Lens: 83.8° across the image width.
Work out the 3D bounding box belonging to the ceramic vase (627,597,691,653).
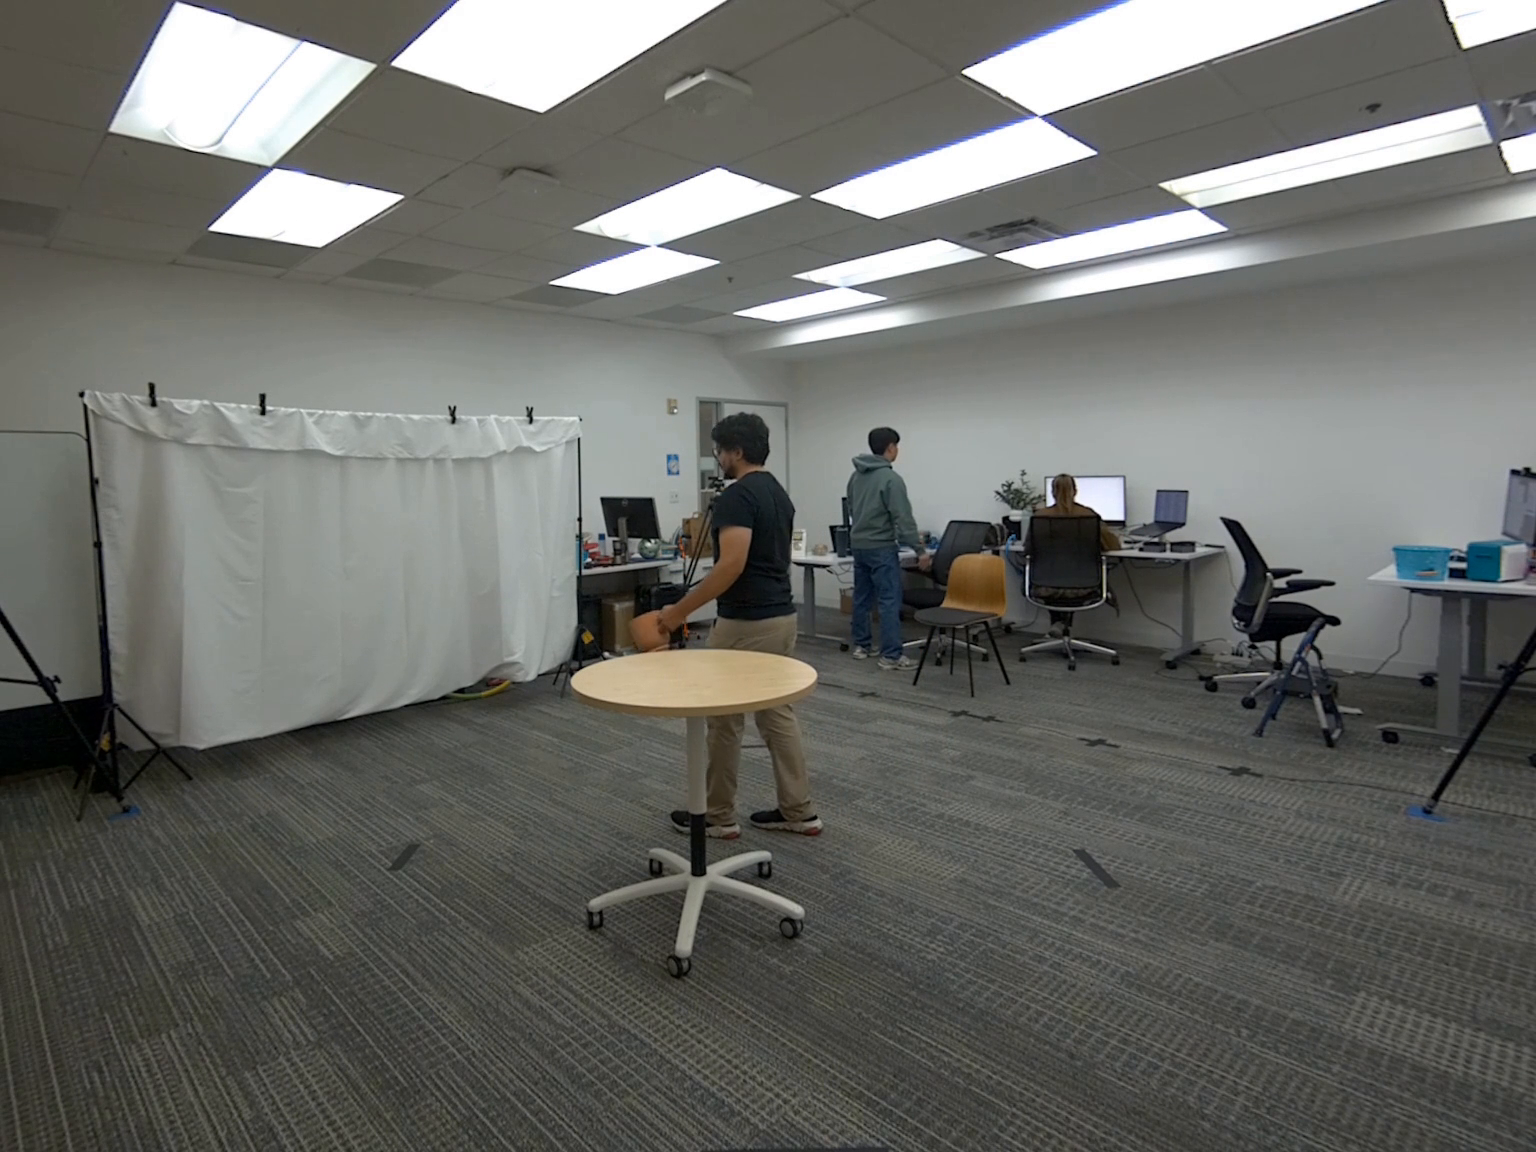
[{"bbox_3d":[-0.432,0.254,3.256,0.134,0.223,0.157,-22,-11,-11],"label":"ceramic vase"}]
